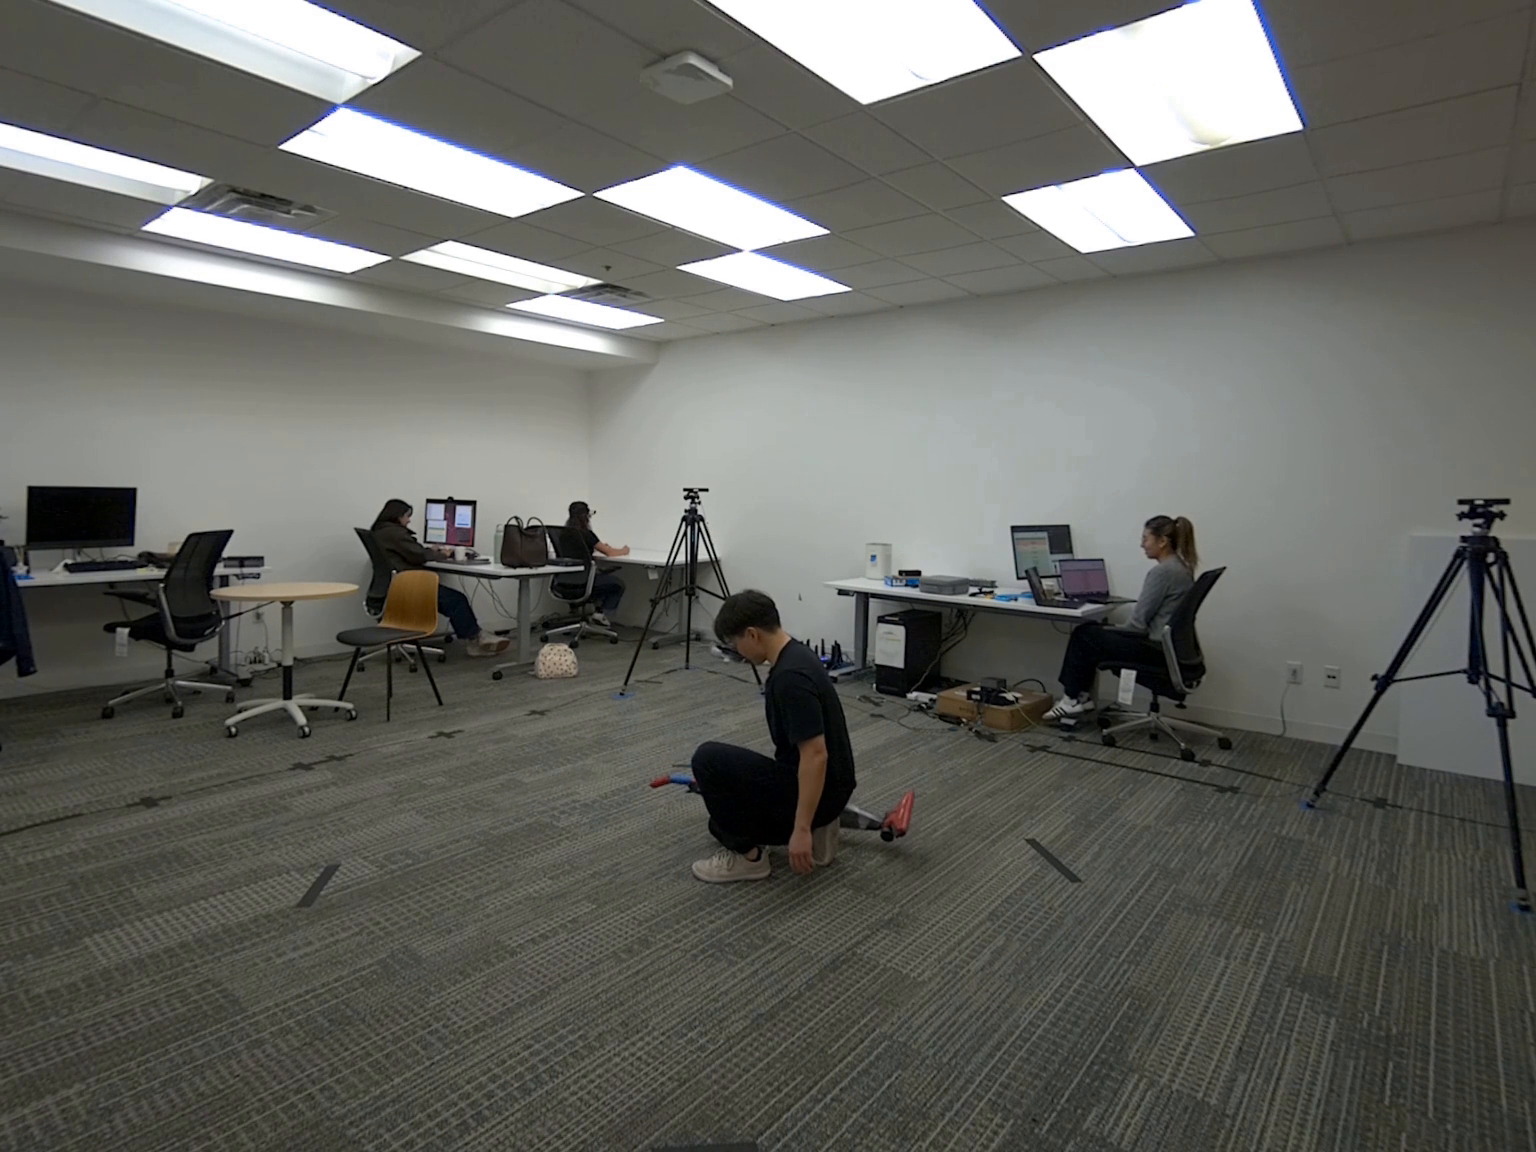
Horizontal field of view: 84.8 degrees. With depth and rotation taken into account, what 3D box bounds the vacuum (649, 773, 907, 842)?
[{"bbox_3d":[-0.007,0.922,3.489,1.070,0.141,0.253,3,23,18],"label":"vacuum"}]
